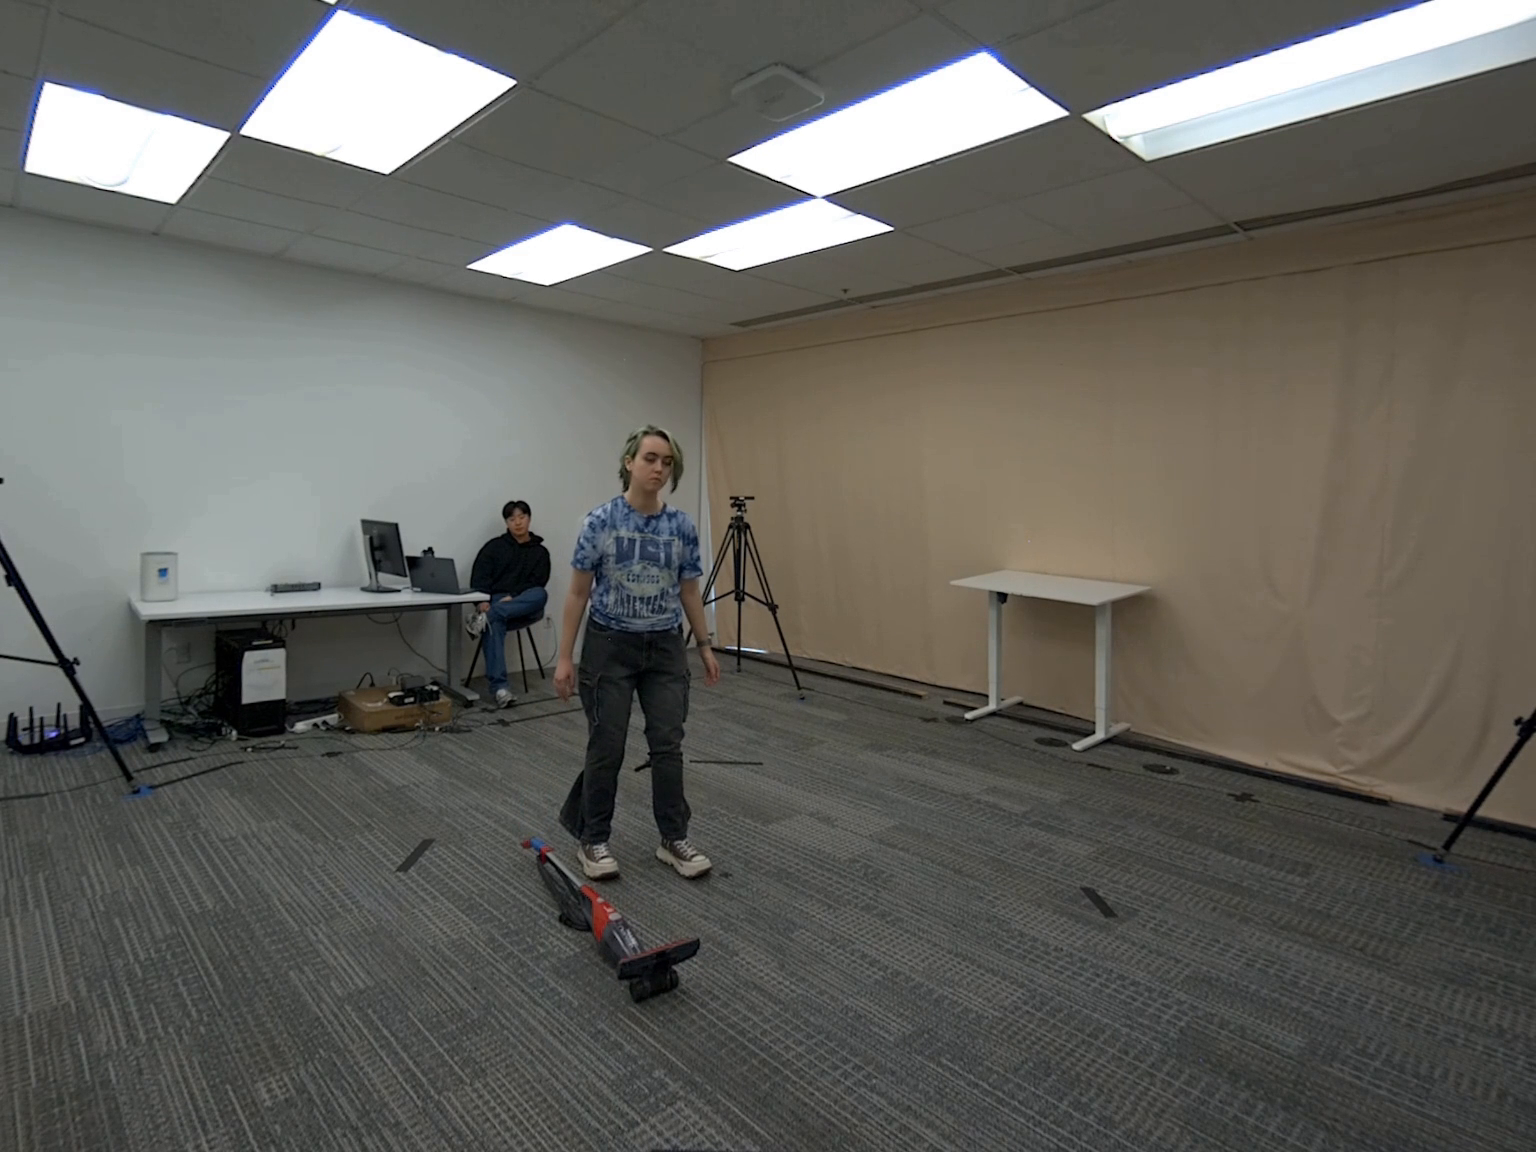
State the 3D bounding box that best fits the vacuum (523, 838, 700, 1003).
[{"bbox_3d":[-0.616,1.068,2.748,0.247,0.144,1.075,1,4,-36],"label":"vacuum"}]
